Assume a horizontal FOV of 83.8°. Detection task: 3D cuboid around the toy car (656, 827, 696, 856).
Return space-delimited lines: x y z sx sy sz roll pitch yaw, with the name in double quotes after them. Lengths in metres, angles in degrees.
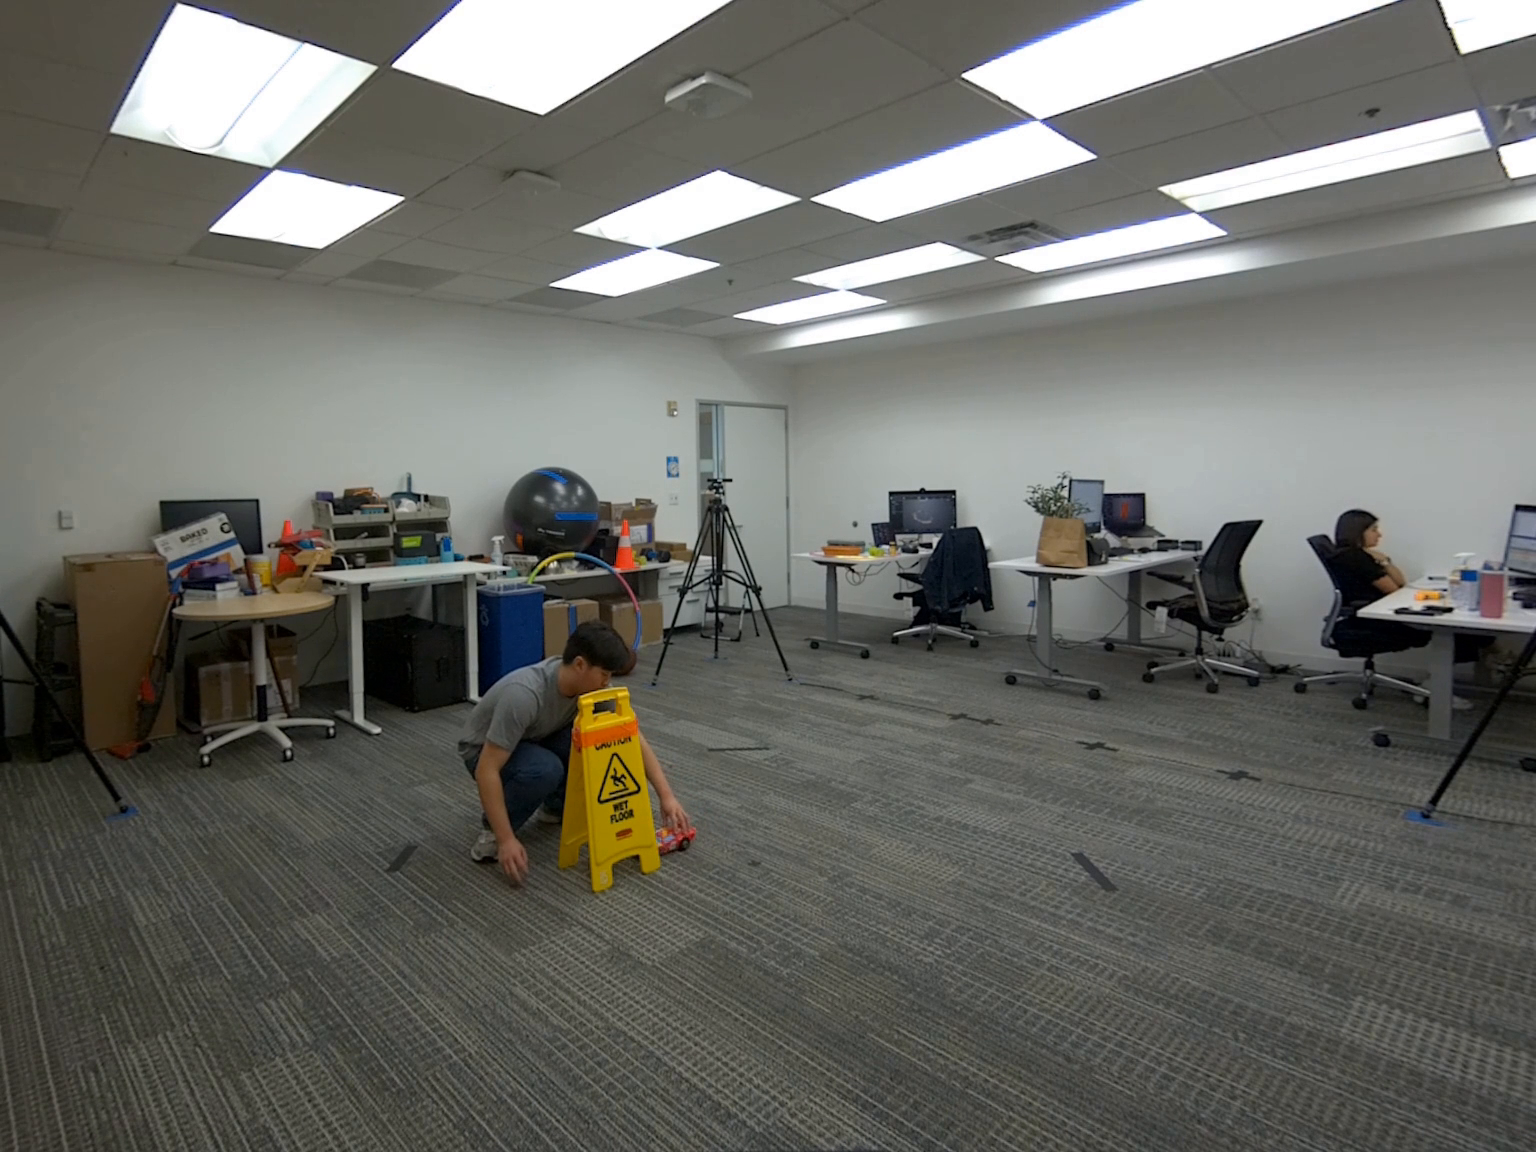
-0.403 1.002 3.216 0.250 0.082 0.134 -19 16 -37 "toy car"
